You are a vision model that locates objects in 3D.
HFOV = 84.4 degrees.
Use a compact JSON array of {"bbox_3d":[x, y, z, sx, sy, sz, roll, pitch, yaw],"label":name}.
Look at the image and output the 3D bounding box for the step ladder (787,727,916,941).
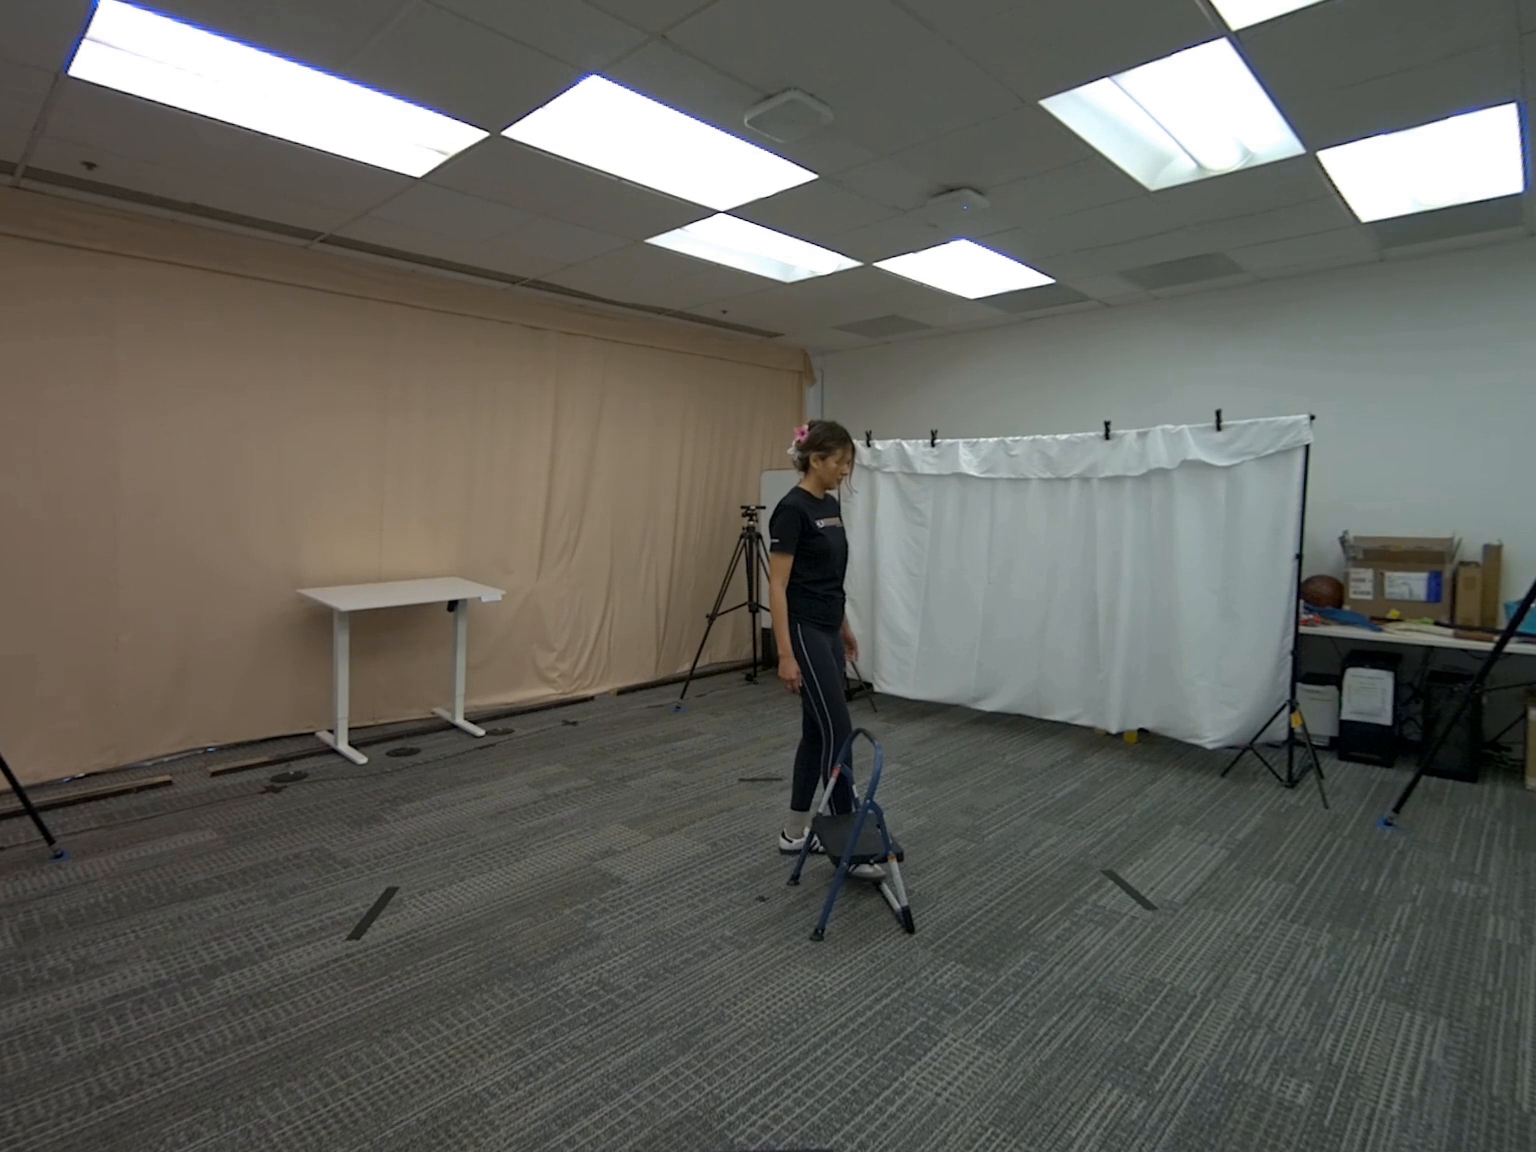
[{"bbox_3d":[0.285,0.845,2.902,0.347,0.605,0.435,0,3,-8],"label":"step ladder"}]
